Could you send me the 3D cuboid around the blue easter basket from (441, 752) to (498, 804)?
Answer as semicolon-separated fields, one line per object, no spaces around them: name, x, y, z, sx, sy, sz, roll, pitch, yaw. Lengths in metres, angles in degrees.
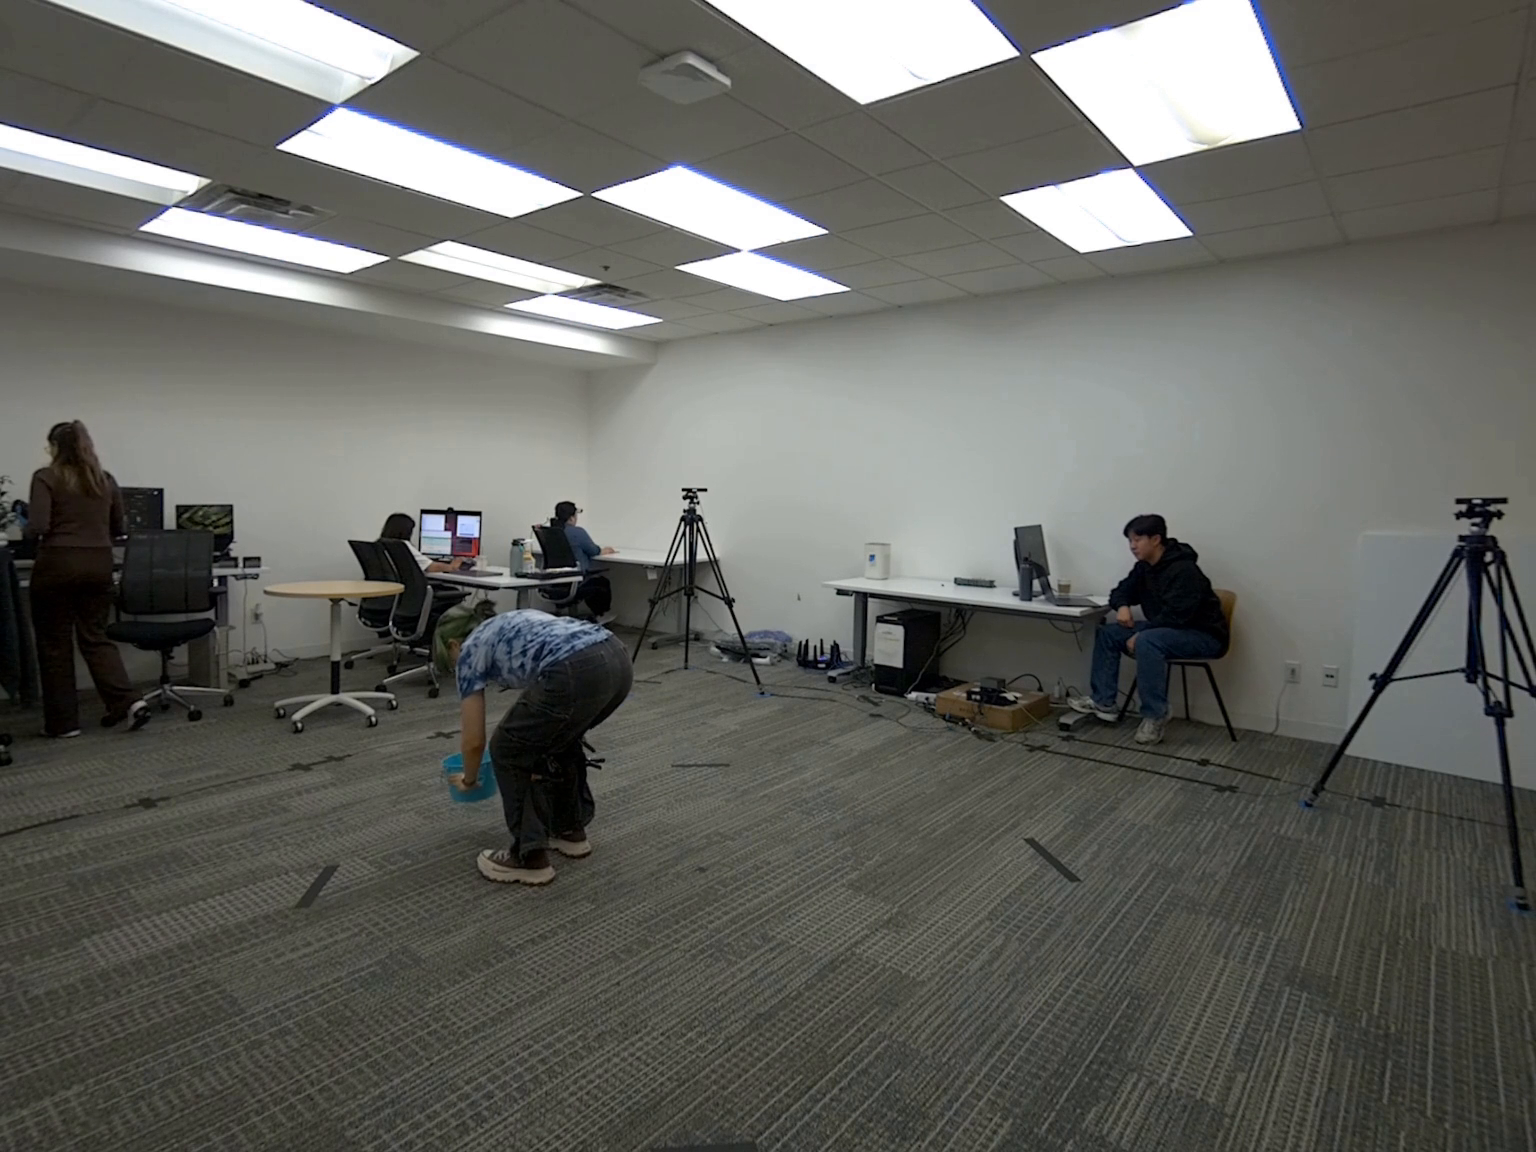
blue easter basket;-1.202;0.785;3.408;0.243;0.155;0.244;-5;4;-2
